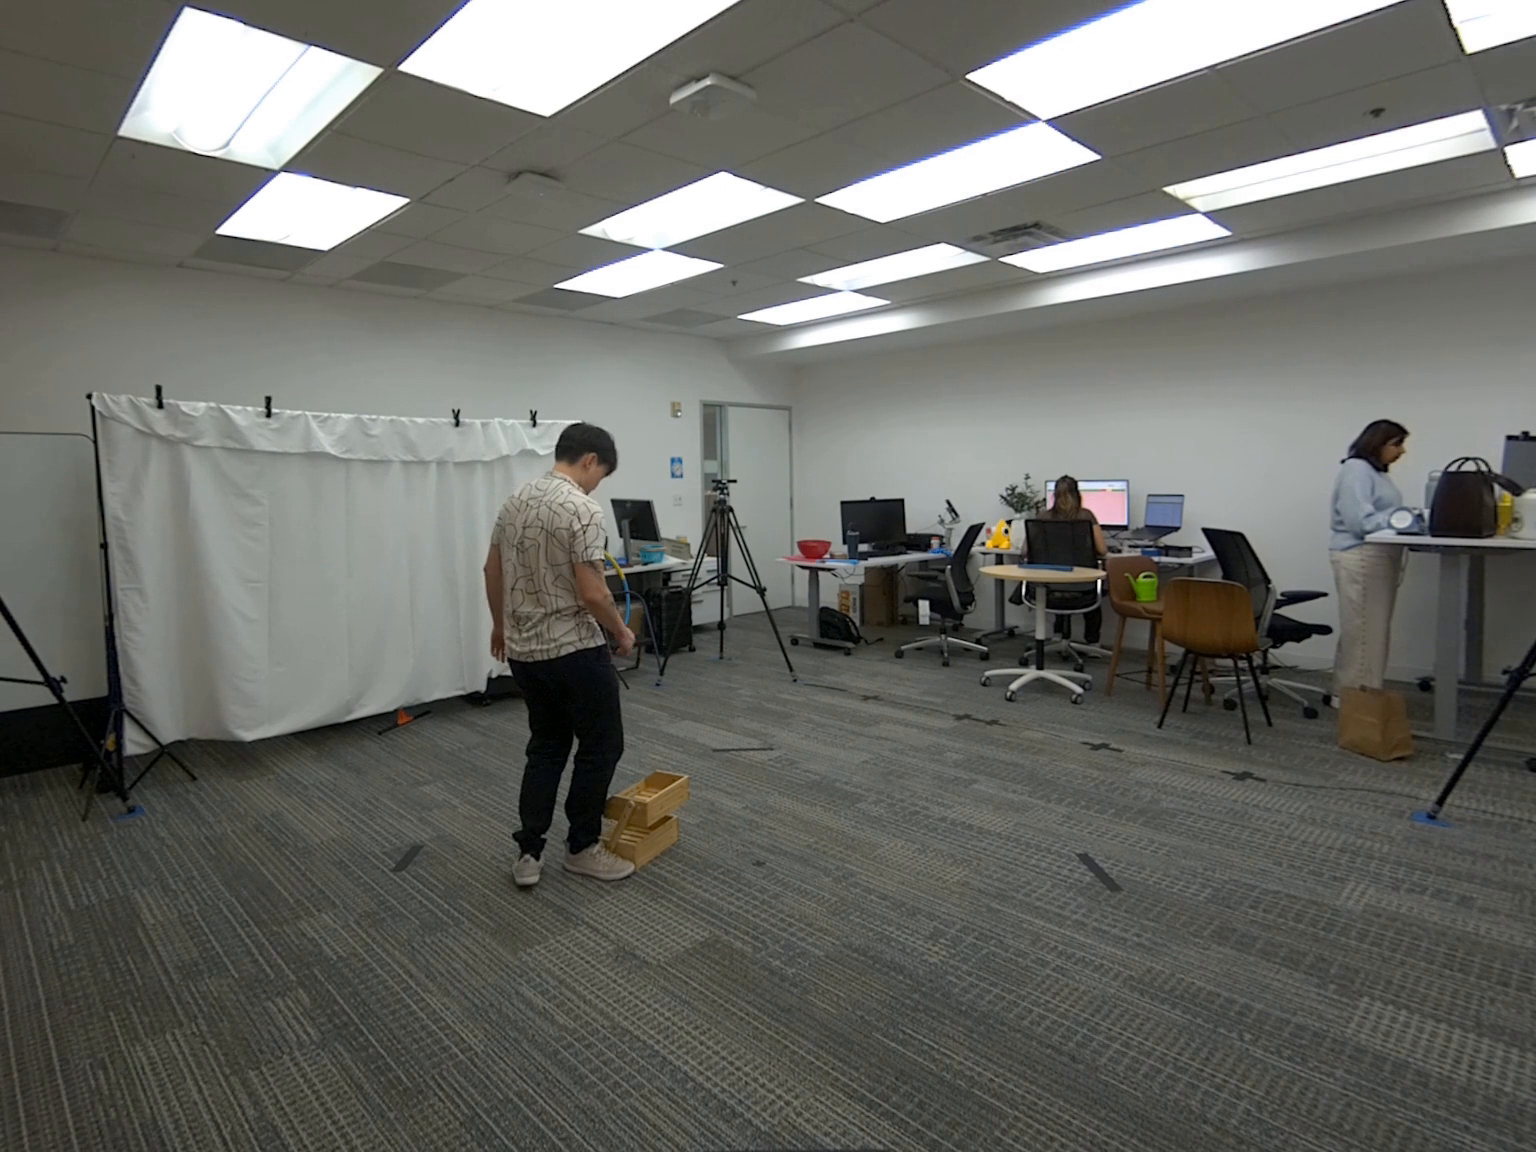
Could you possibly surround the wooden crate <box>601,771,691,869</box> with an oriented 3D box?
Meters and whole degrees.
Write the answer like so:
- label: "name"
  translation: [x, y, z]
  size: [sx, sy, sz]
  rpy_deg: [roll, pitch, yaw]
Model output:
- label: "wooden crate"
  translation: [-0.502, 0.906, 3.239]
  size: [0.309, 0.272, 0.318]
  rpy_deg: [2, 6, 26]
